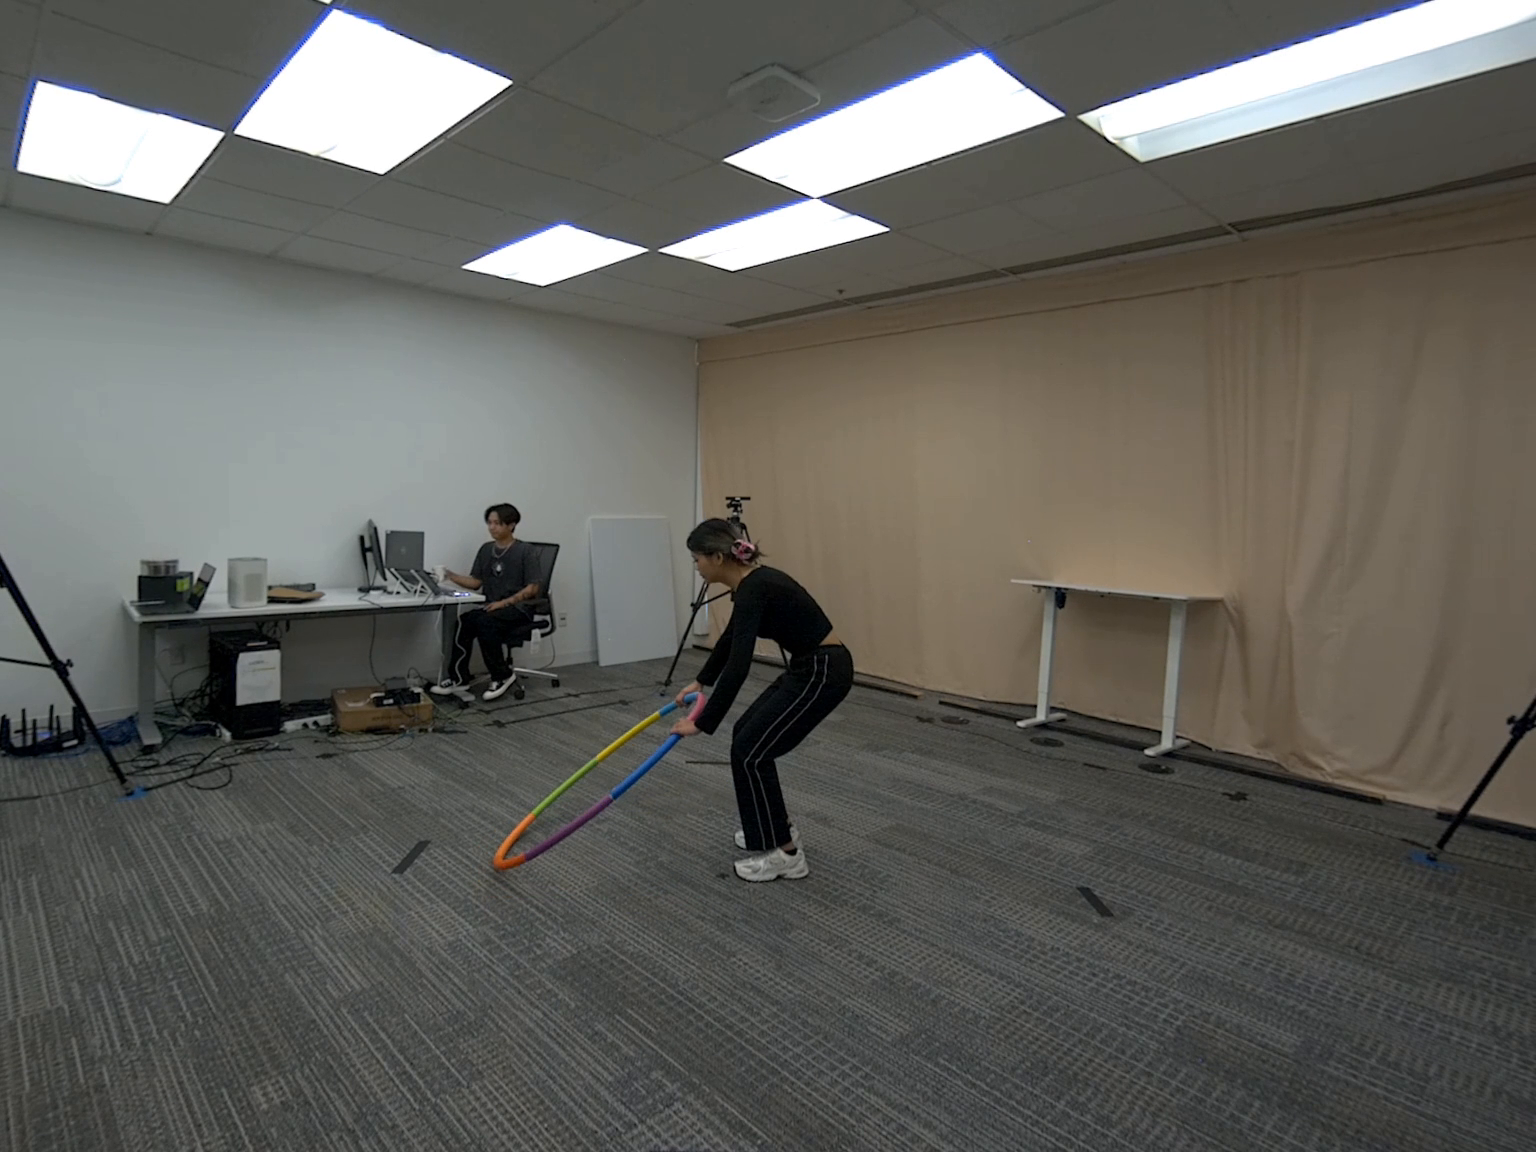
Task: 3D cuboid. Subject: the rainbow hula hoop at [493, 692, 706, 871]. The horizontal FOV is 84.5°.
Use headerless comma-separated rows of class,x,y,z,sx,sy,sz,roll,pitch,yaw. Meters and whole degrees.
rainbow hula hoop,-0.638,0.765,3.238,0.979,0.035,0.982,-37,5,1
